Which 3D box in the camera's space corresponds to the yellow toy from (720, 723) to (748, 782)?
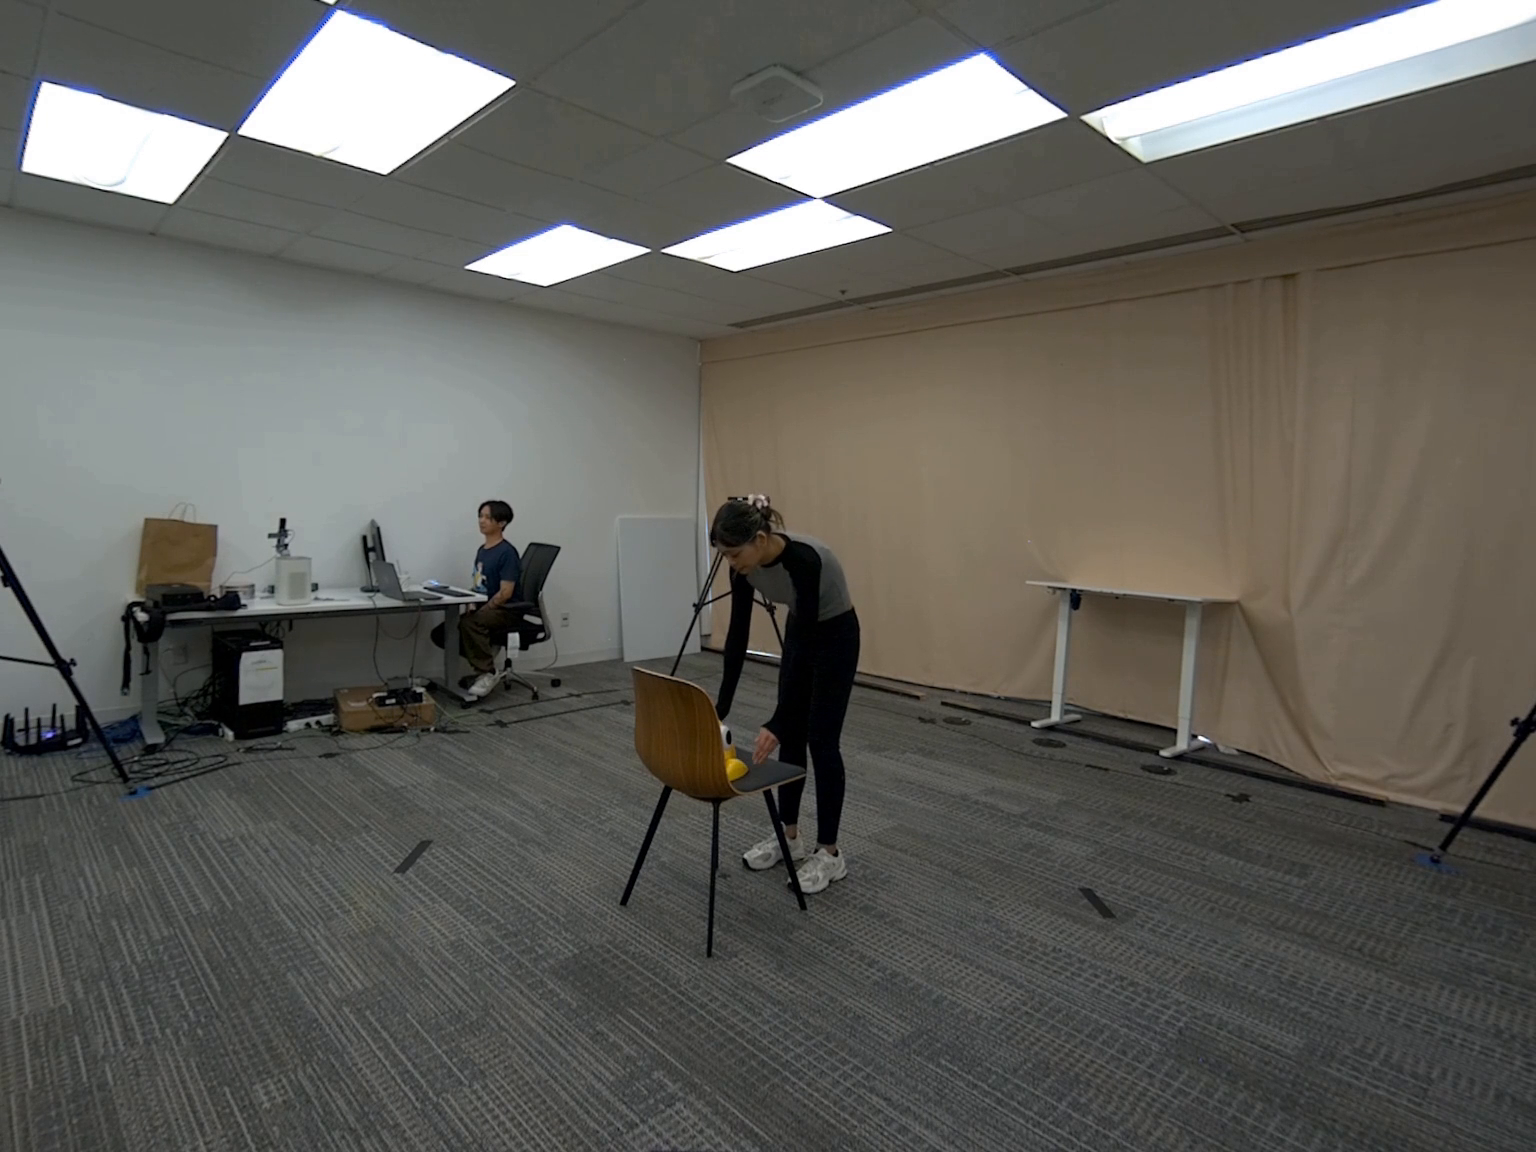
[{"bbox_3d":[-0.179,0.553,2.802,0.189,0.229,0.210,-8,8,-41],"label":"yellow toy"}]
